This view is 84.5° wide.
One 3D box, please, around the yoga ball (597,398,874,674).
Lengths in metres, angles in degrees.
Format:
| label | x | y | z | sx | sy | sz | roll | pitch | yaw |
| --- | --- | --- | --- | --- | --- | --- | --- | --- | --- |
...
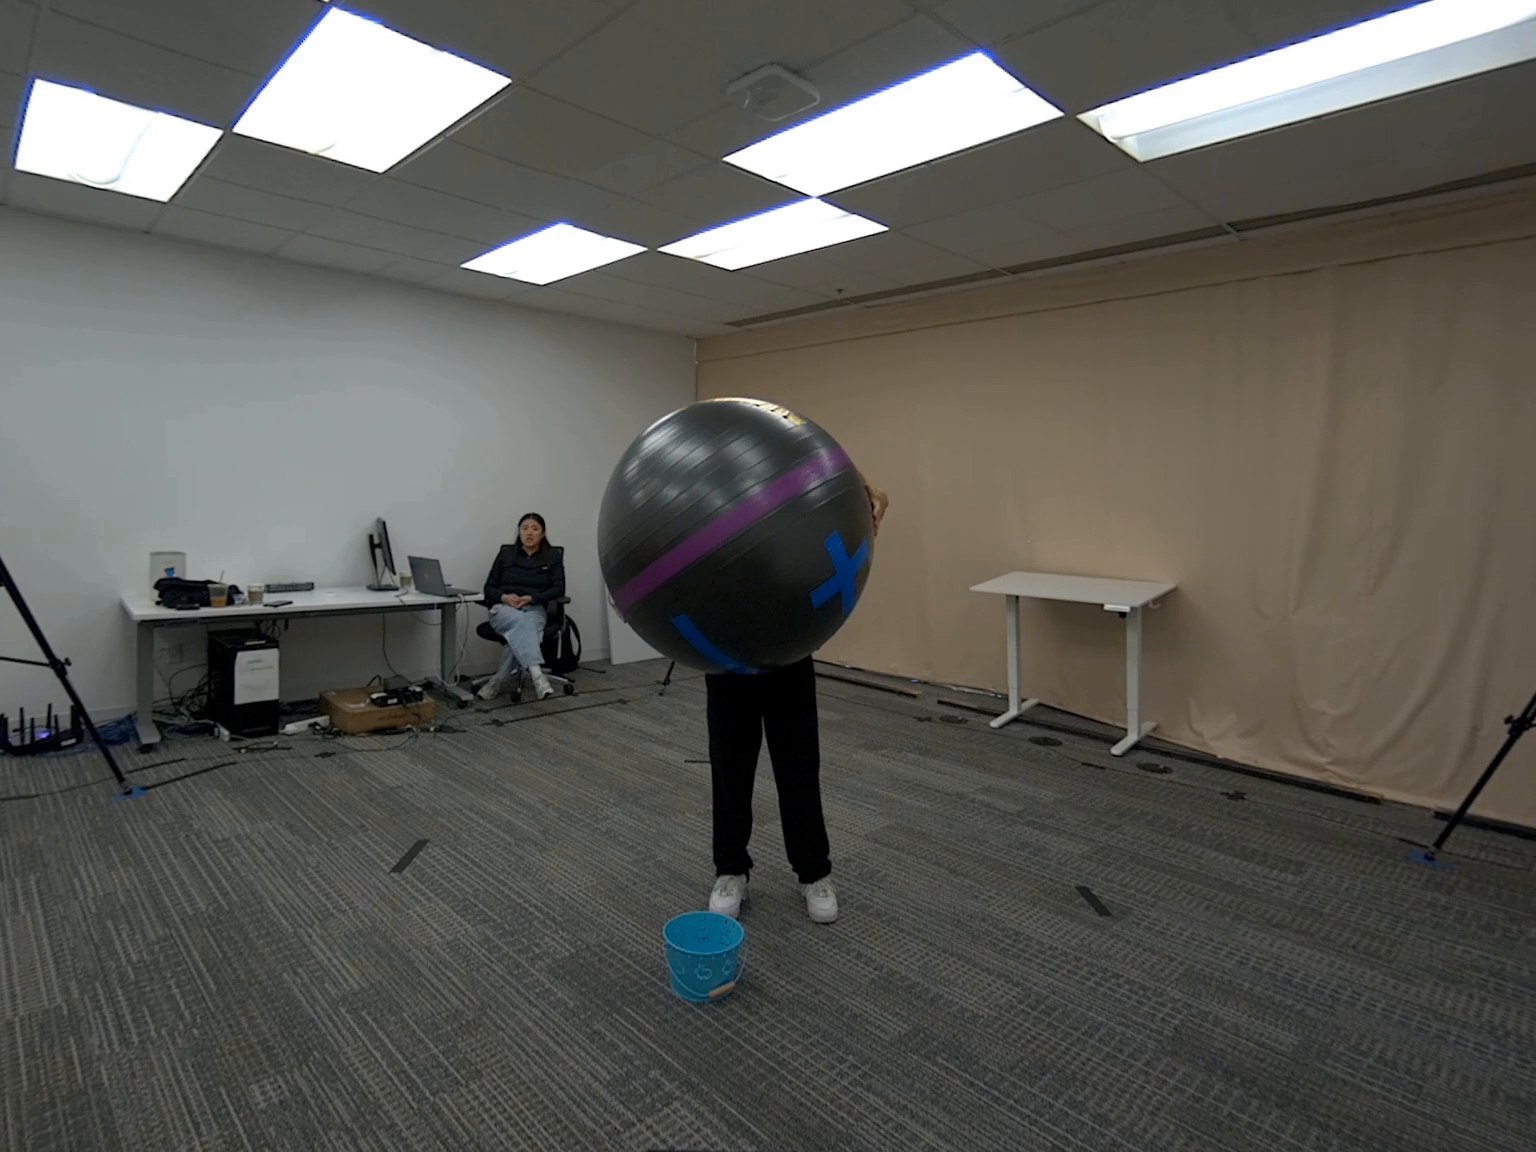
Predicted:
| label | x | y | z | sx | sy | sz | roll | pitch | yaw |
| --- | --- | --- | --- | --- | --- | --- | --- | --- | --- |
| yoga ball | -0.092 | -0.099 | 2.308 | 0.757 | 0.756 | 0.761 | 1 | 4 | -1 |
